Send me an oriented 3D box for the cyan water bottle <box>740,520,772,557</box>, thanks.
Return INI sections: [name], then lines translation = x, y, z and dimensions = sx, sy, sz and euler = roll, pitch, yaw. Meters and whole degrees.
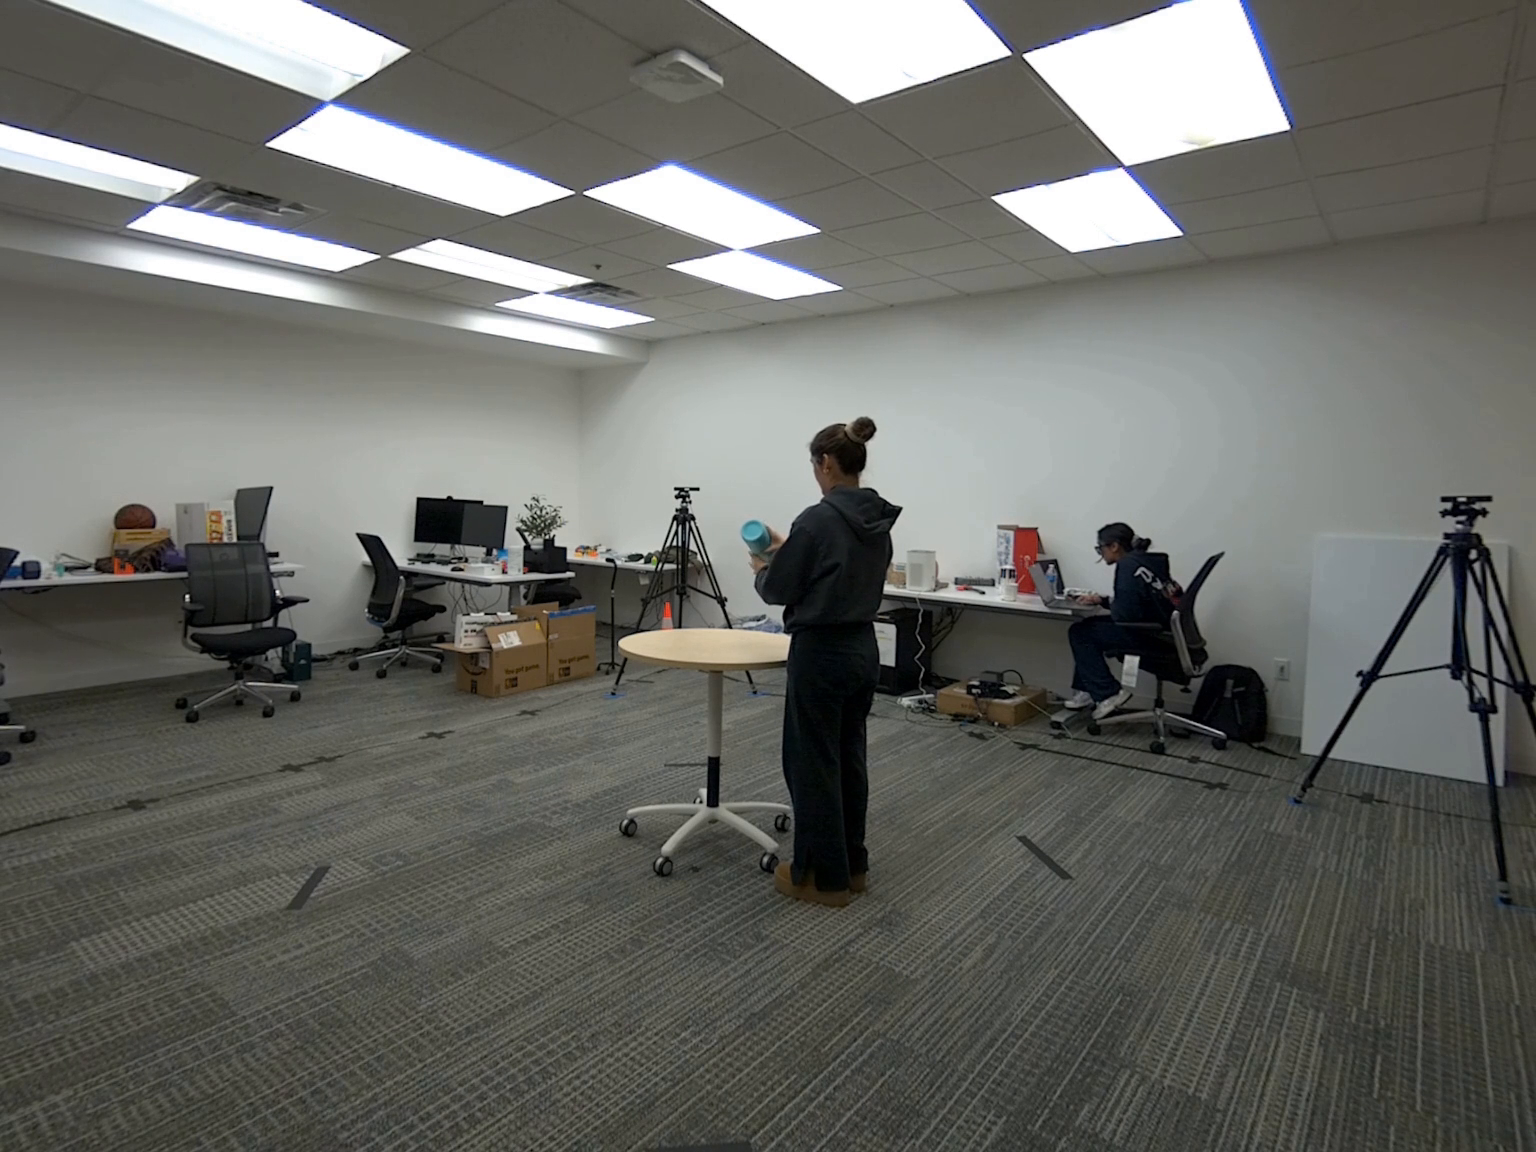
[cyan water bottle]
translation = -0.021, -0.116, 3.196
dimensions = 0.094, 0.094, 0.273
euler = 2, -24, 18
